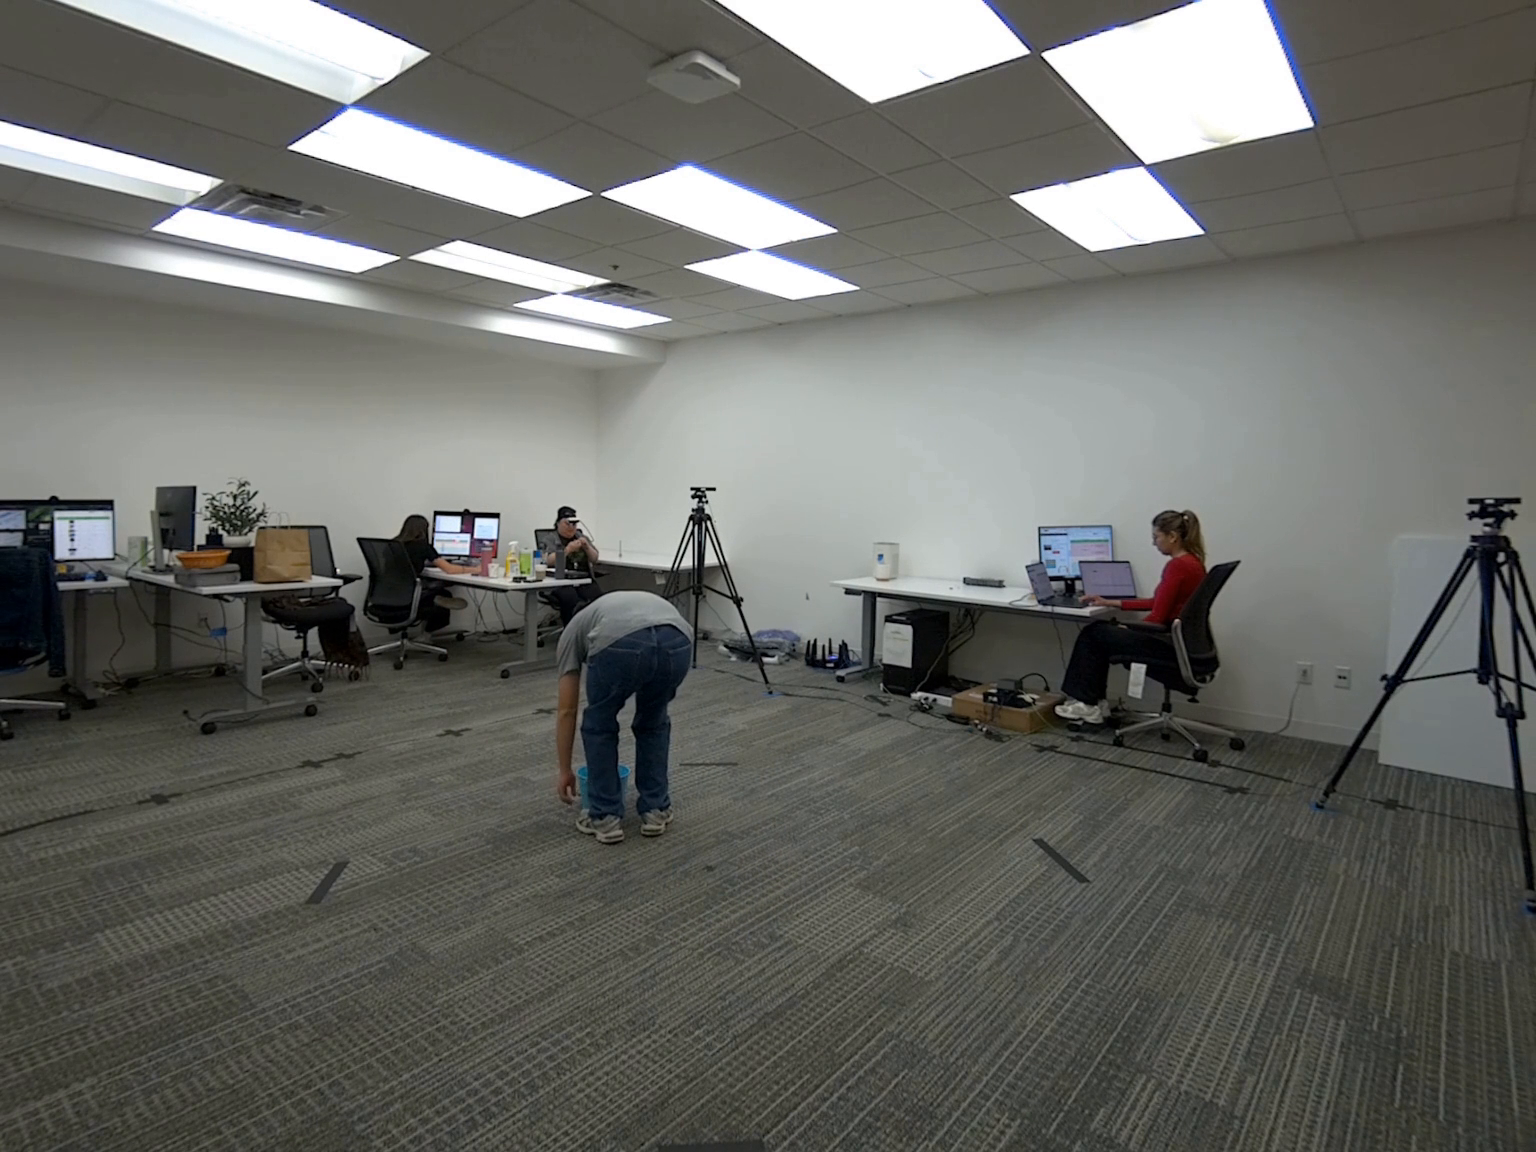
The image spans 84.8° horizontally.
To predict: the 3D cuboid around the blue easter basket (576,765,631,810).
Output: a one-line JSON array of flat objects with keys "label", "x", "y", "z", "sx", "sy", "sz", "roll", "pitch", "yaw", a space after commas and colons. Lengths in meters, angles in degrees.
[{"label": "blue easter basket", "x": -0.722, "y": 0.911, "z": 3.691, "sx": 0.243, "sy": 0.155, "sz": 0.245, "roll": 2, "pitch": 6, "yaw": -2}]
